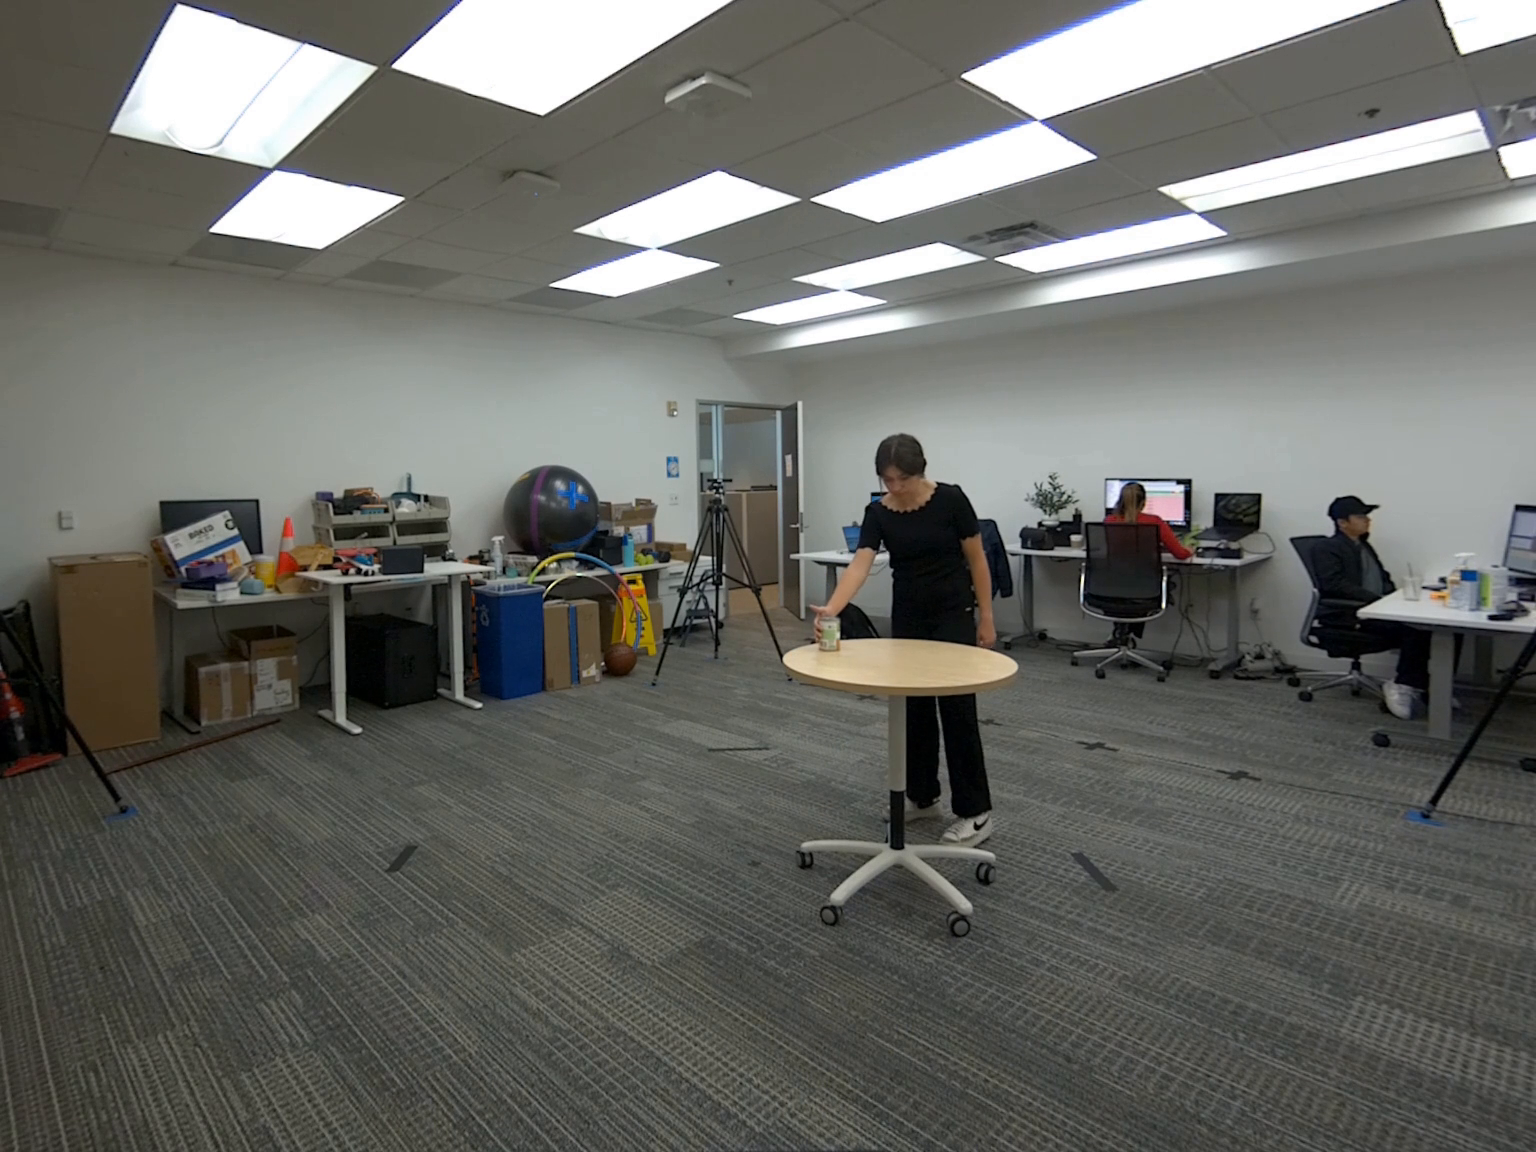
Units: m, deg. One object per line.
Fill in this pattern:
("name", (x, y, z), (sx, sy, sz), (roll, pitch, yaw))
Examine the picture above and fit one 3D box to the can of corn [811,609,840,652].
("can of corn", (0.225, 0.209, 3.032), (0.074, 0.110, 0.074), (-3, 5, -1))
